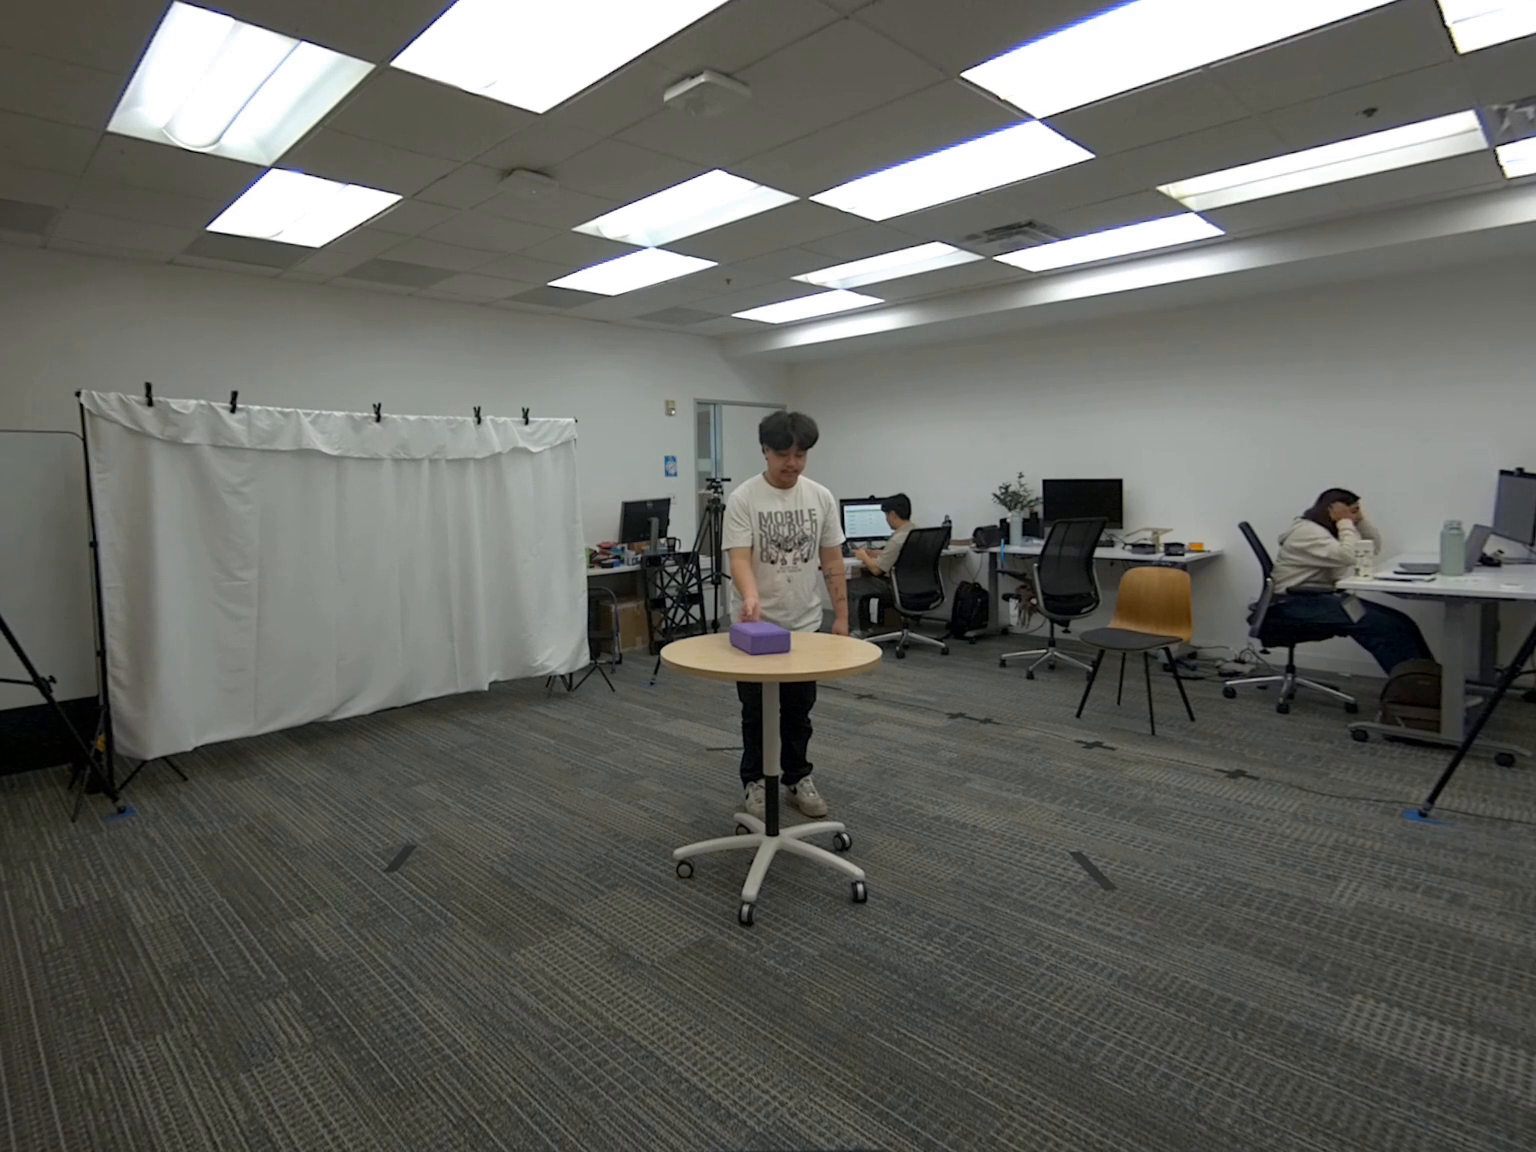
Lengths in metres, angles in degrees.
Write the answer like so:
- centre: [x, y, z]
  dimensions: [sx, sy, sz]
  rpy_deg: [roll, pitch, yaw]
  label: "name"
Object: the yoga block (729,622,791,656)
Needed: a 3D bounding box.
- centre: [-0.025, 0.217, 2.992]
  dimensions: [0.147, 0.076, 0.234]
  rpy_deg: [-2, 6, -17]
  label: "yoga block"
